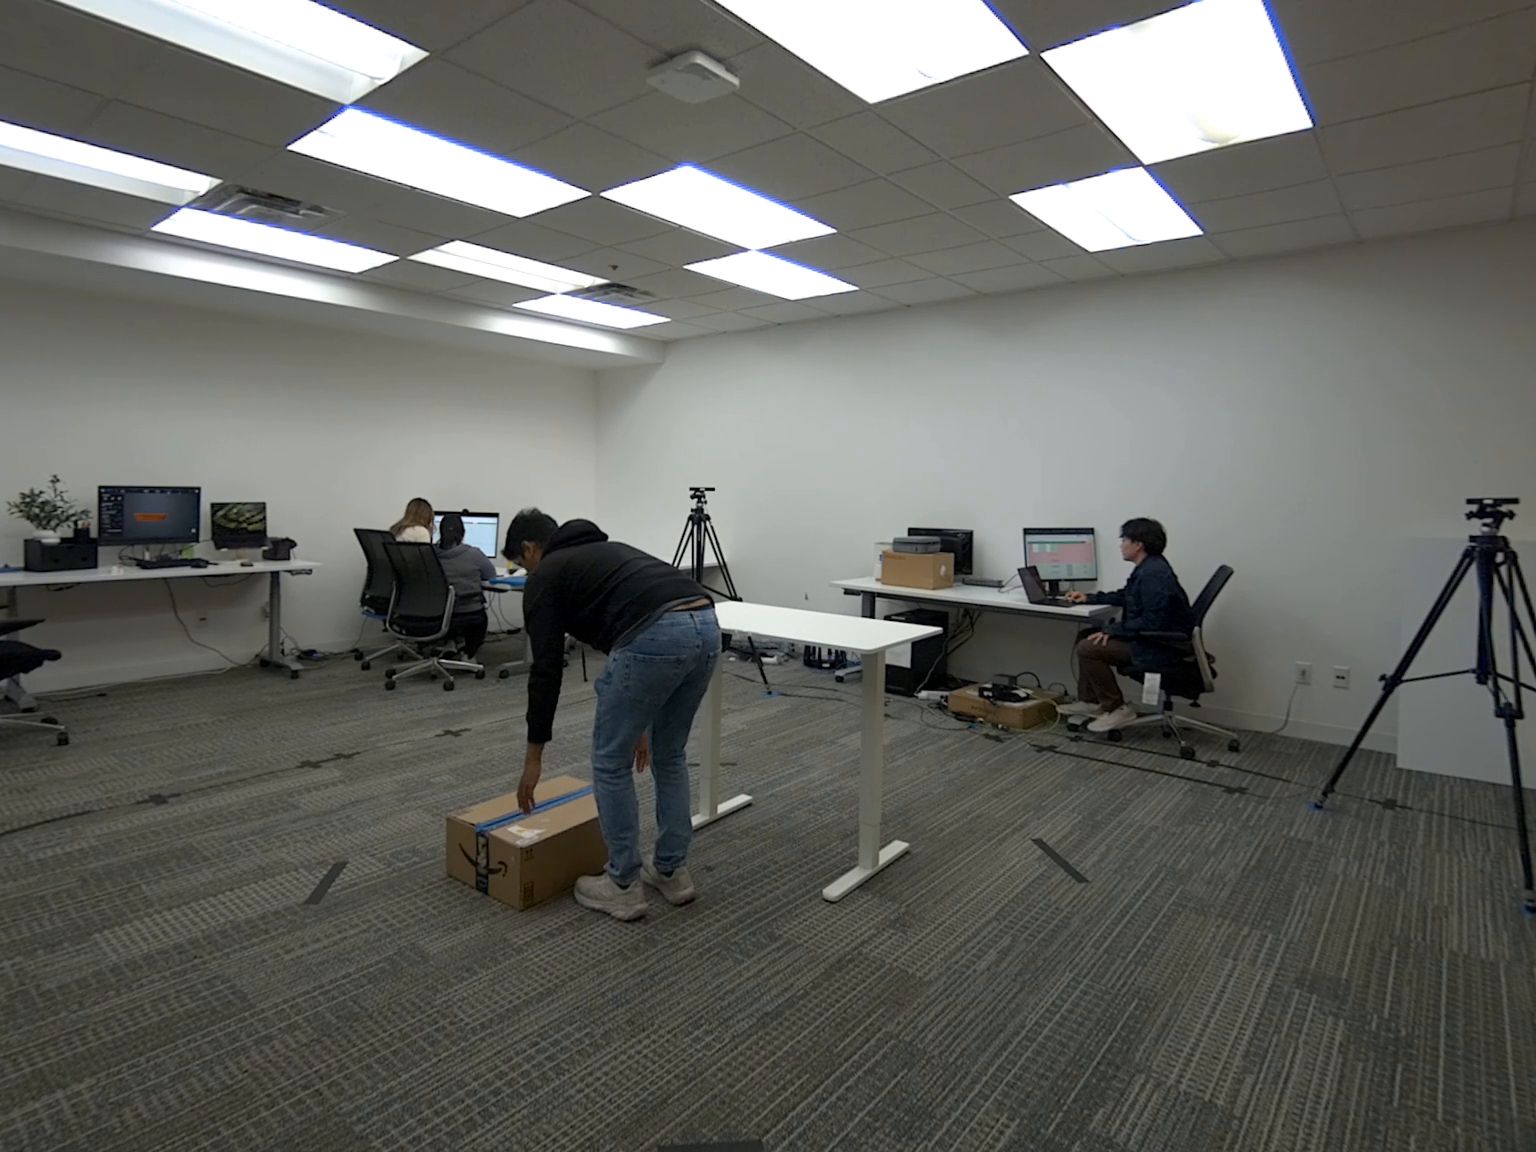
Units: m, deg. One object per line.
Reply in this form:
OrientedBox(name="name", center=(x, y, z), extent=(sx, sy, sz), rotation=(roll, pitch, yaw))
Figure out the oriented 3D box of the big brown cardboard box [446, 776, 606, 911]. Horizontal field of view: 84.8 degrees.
OrientedBox(name="big brown cardboard box", center=(-0.830, 0.945, 3.106), extent=(0.431, 0.232, 0.572), rotation=(5, 6, 35))
